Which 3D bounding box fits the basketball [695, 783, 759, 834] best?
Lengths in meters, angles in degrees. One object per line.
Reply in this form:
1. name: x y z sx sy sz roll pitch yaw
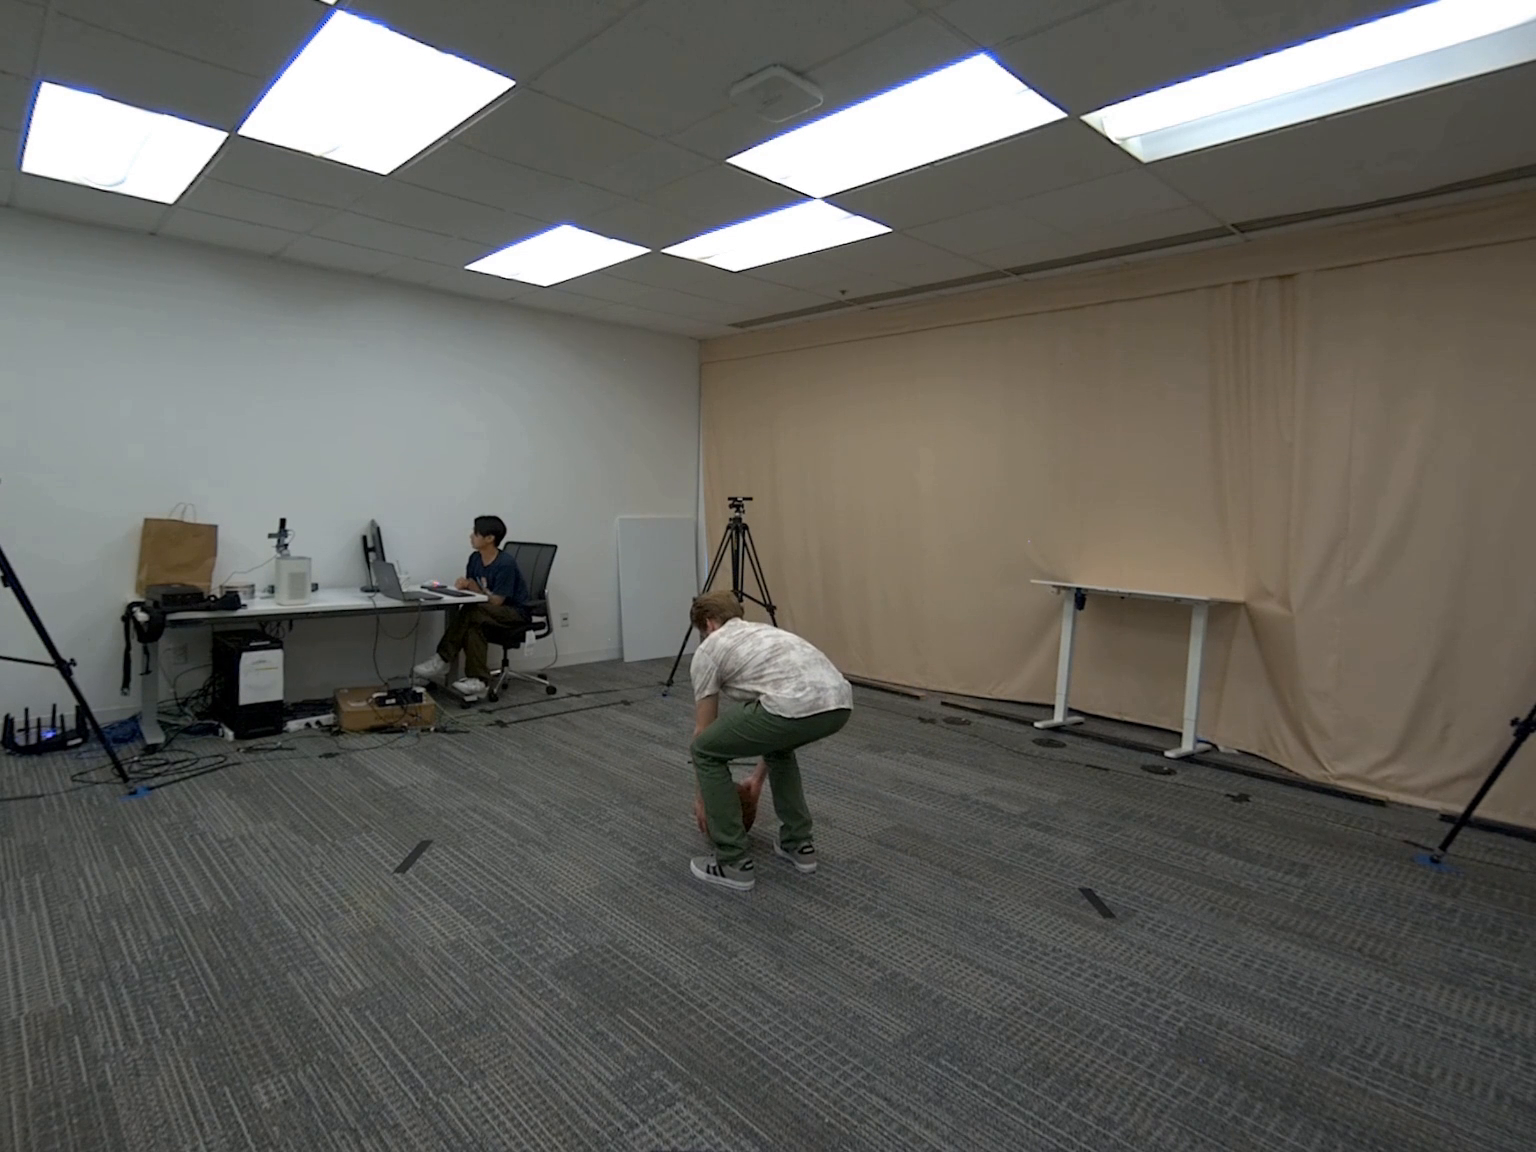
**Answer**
1. basketball: -0.172 0.951 3.424 0.236 0.235 0.237 1 4 -1
